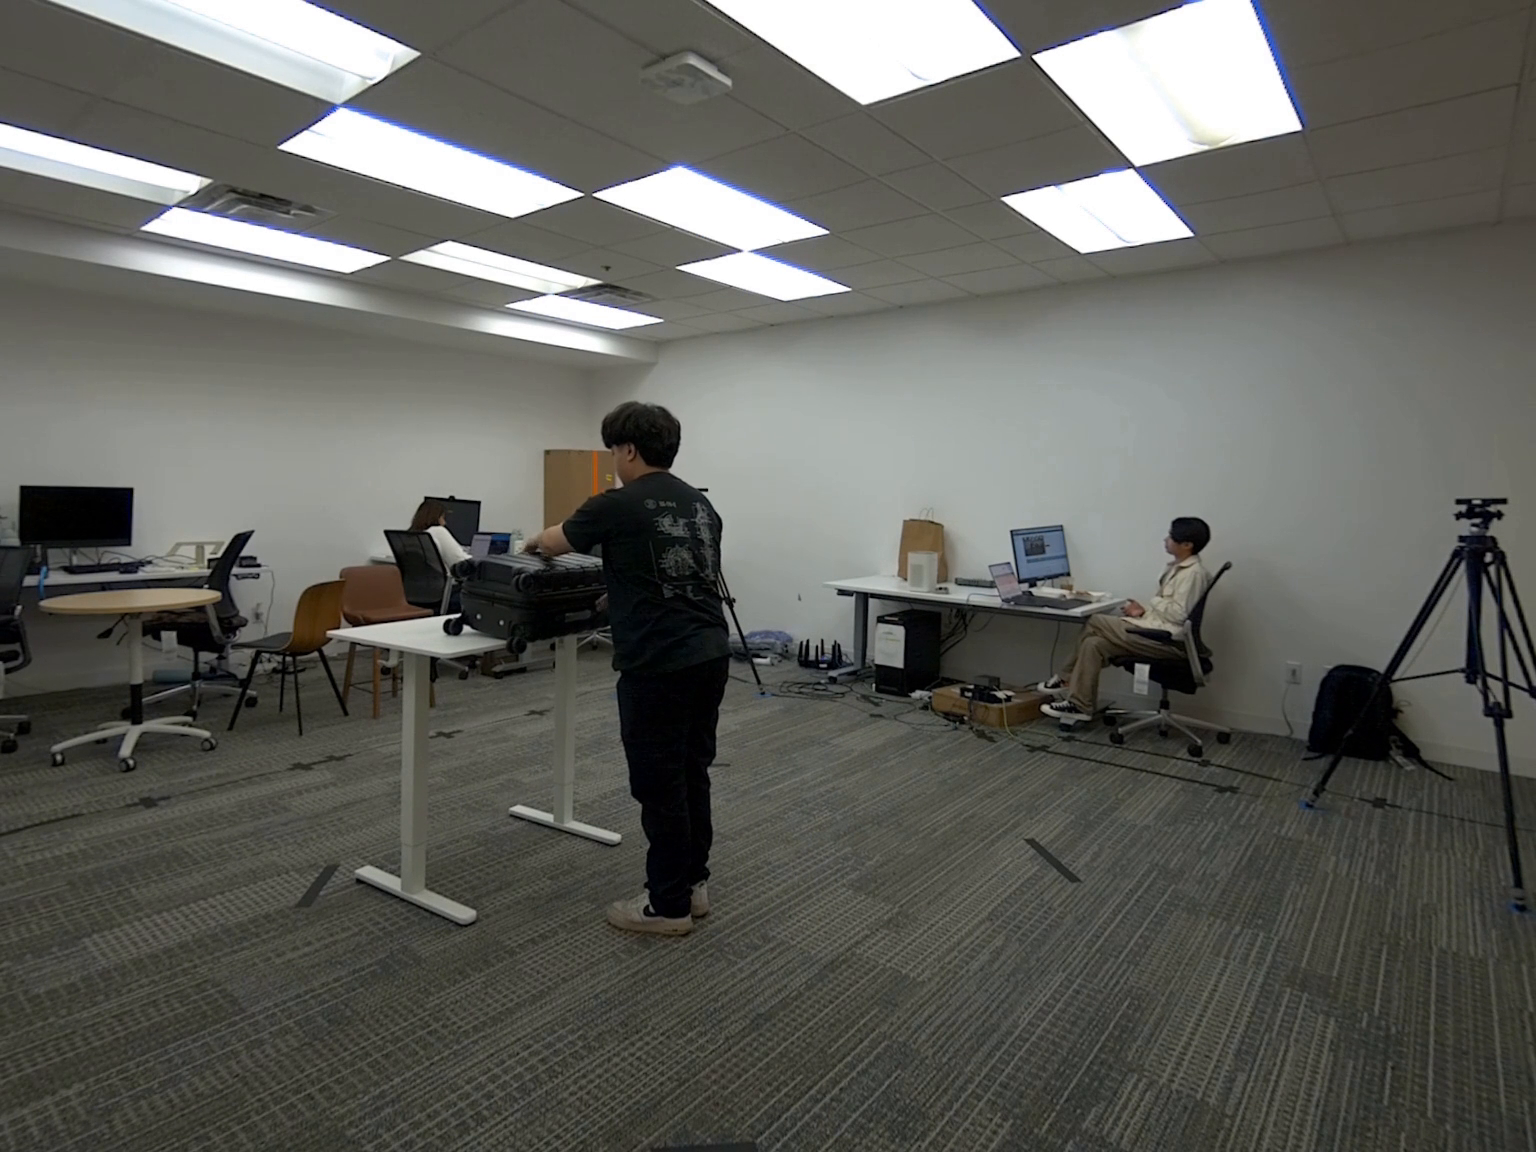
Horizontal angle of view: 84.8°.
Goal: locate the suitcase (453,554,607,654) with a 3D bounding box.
[{"bbox_3d":[-0.814,0.066,2.988,0.387,0.247,0.535,7,8,30],"label":"suitcase"}]
